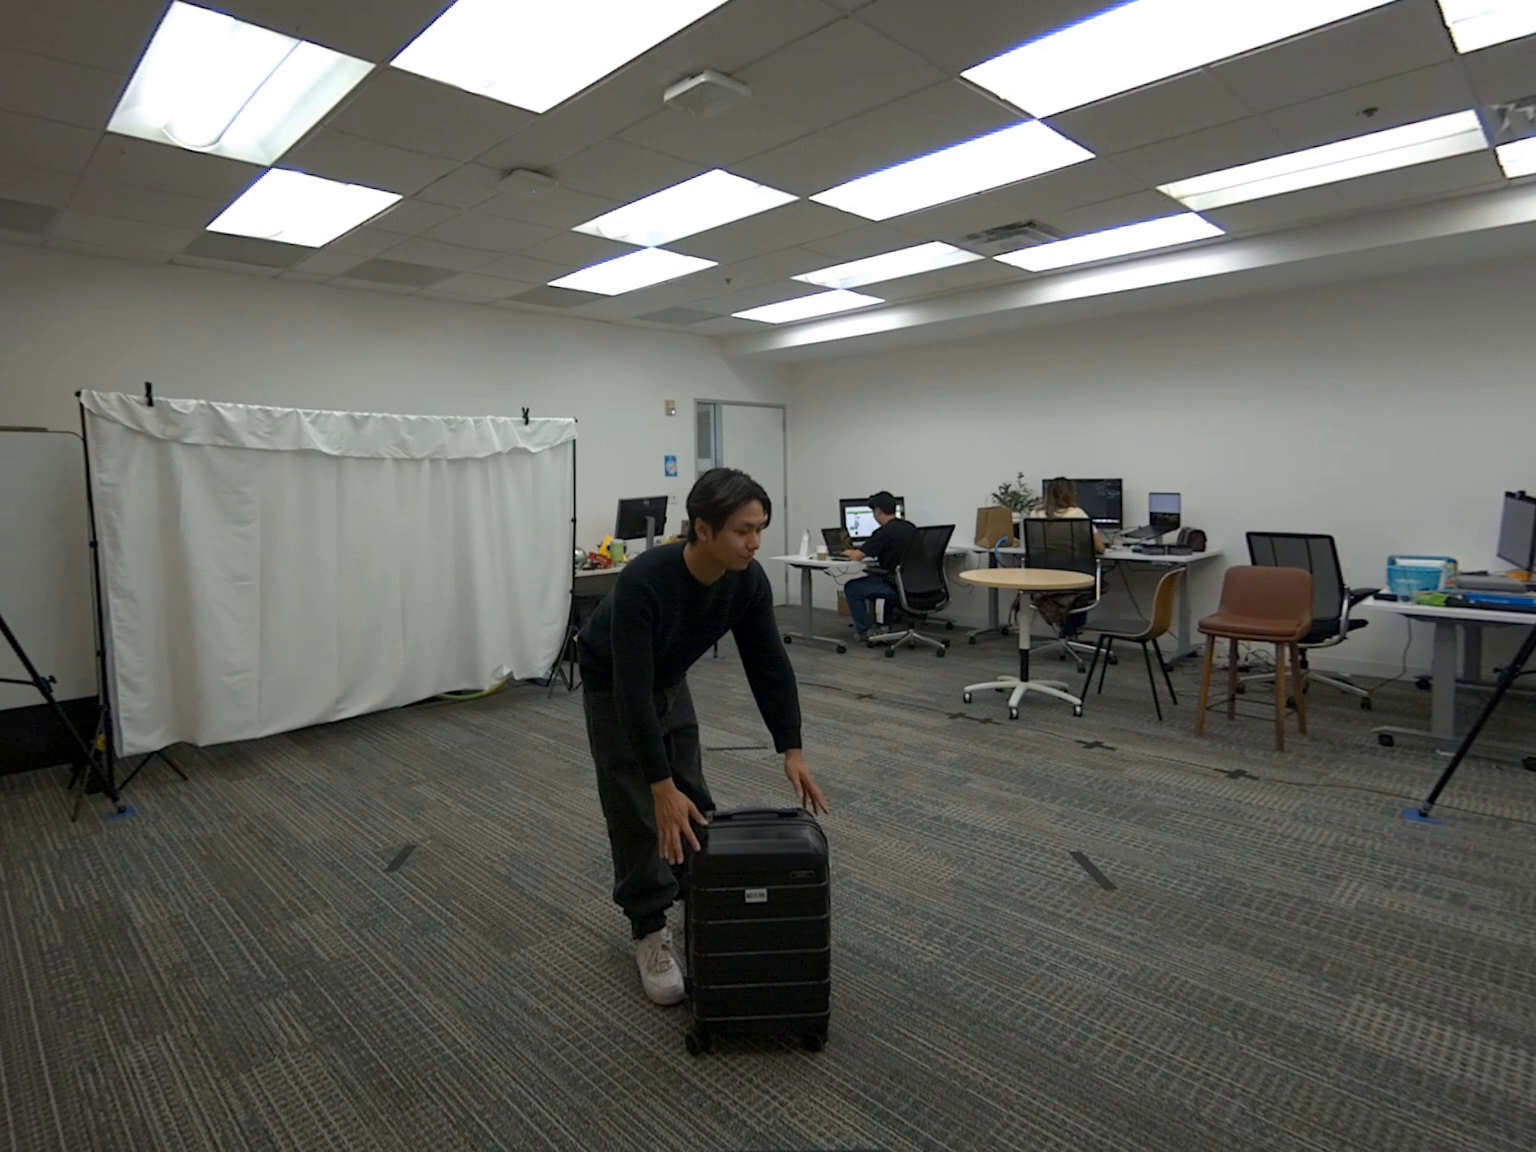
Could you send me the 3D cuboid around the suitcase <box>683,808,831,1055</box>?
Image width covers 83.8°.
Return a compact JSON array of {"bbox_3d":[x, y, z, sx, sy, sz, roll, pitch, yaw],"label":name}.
[{"bbox_3d":[-0.013,0.879,2.158,0.374,0.547,0.250,-2,5,-3],"label":"suitcase"}]
